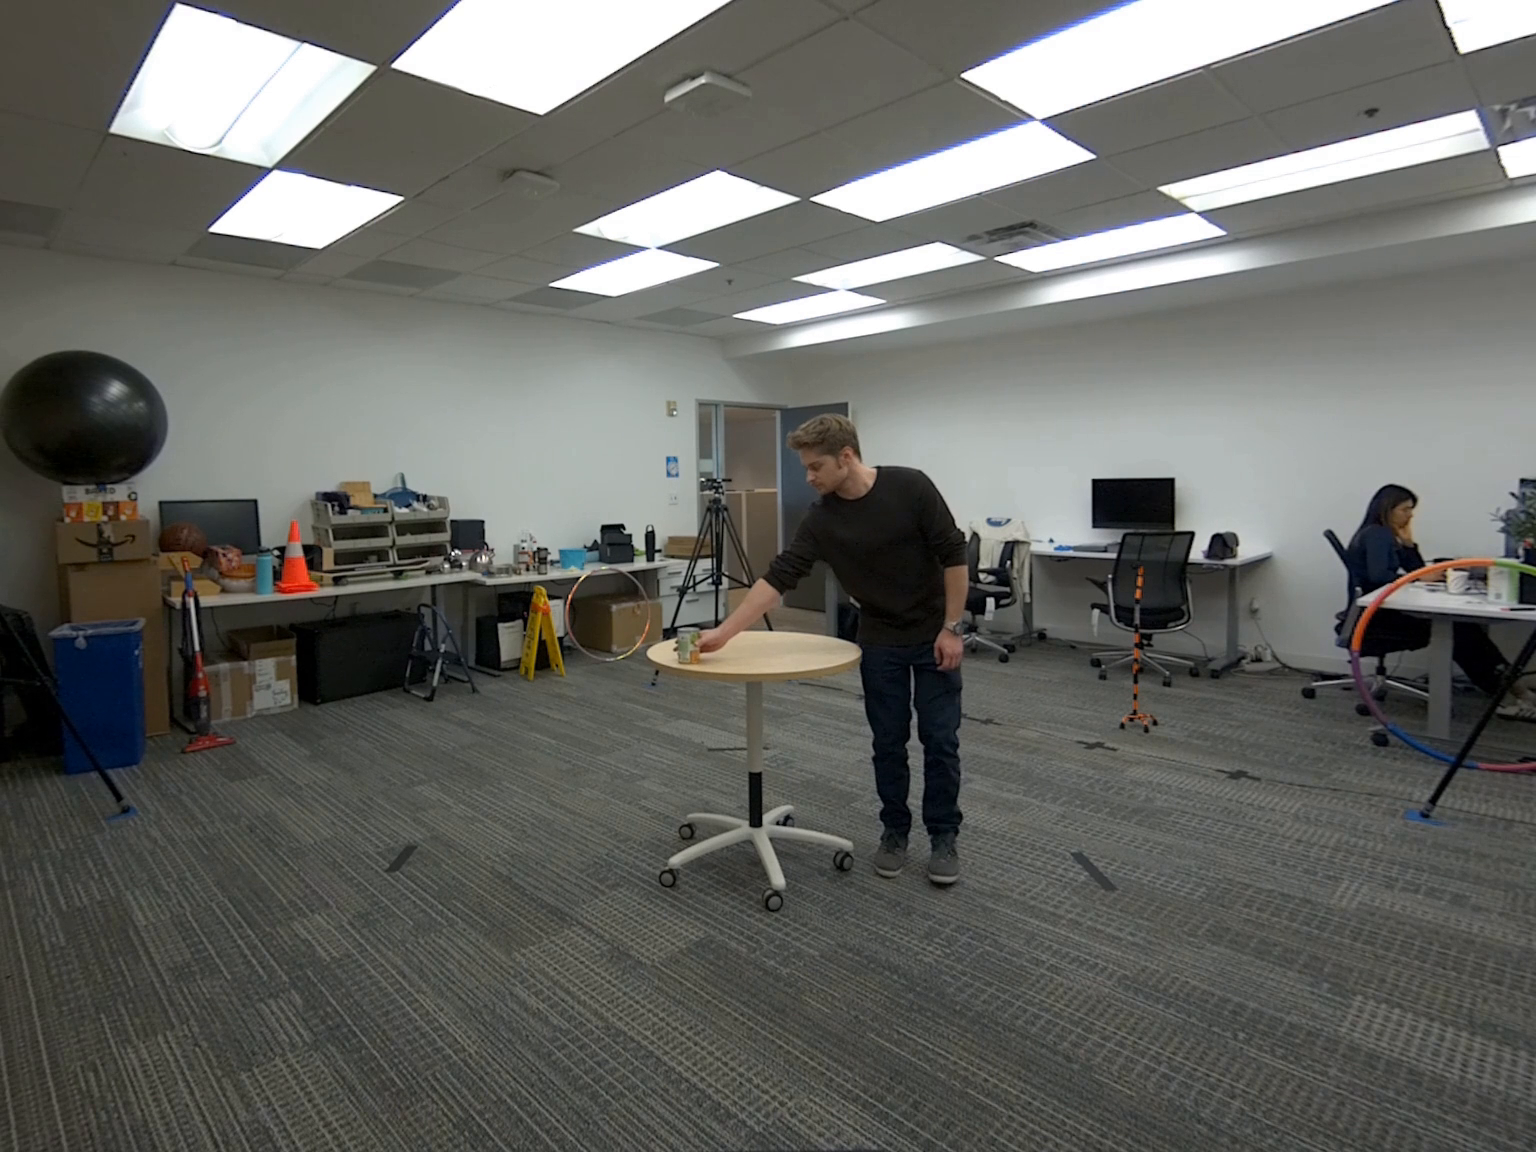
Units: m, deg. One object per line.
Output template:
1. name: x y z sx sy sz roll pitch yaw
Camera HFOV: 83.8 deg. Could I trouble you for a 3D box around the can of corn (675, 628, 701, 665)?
1. can of corn: -0.260 0.237 2.853 0.074 0.110 0.074 -2 5 -1
